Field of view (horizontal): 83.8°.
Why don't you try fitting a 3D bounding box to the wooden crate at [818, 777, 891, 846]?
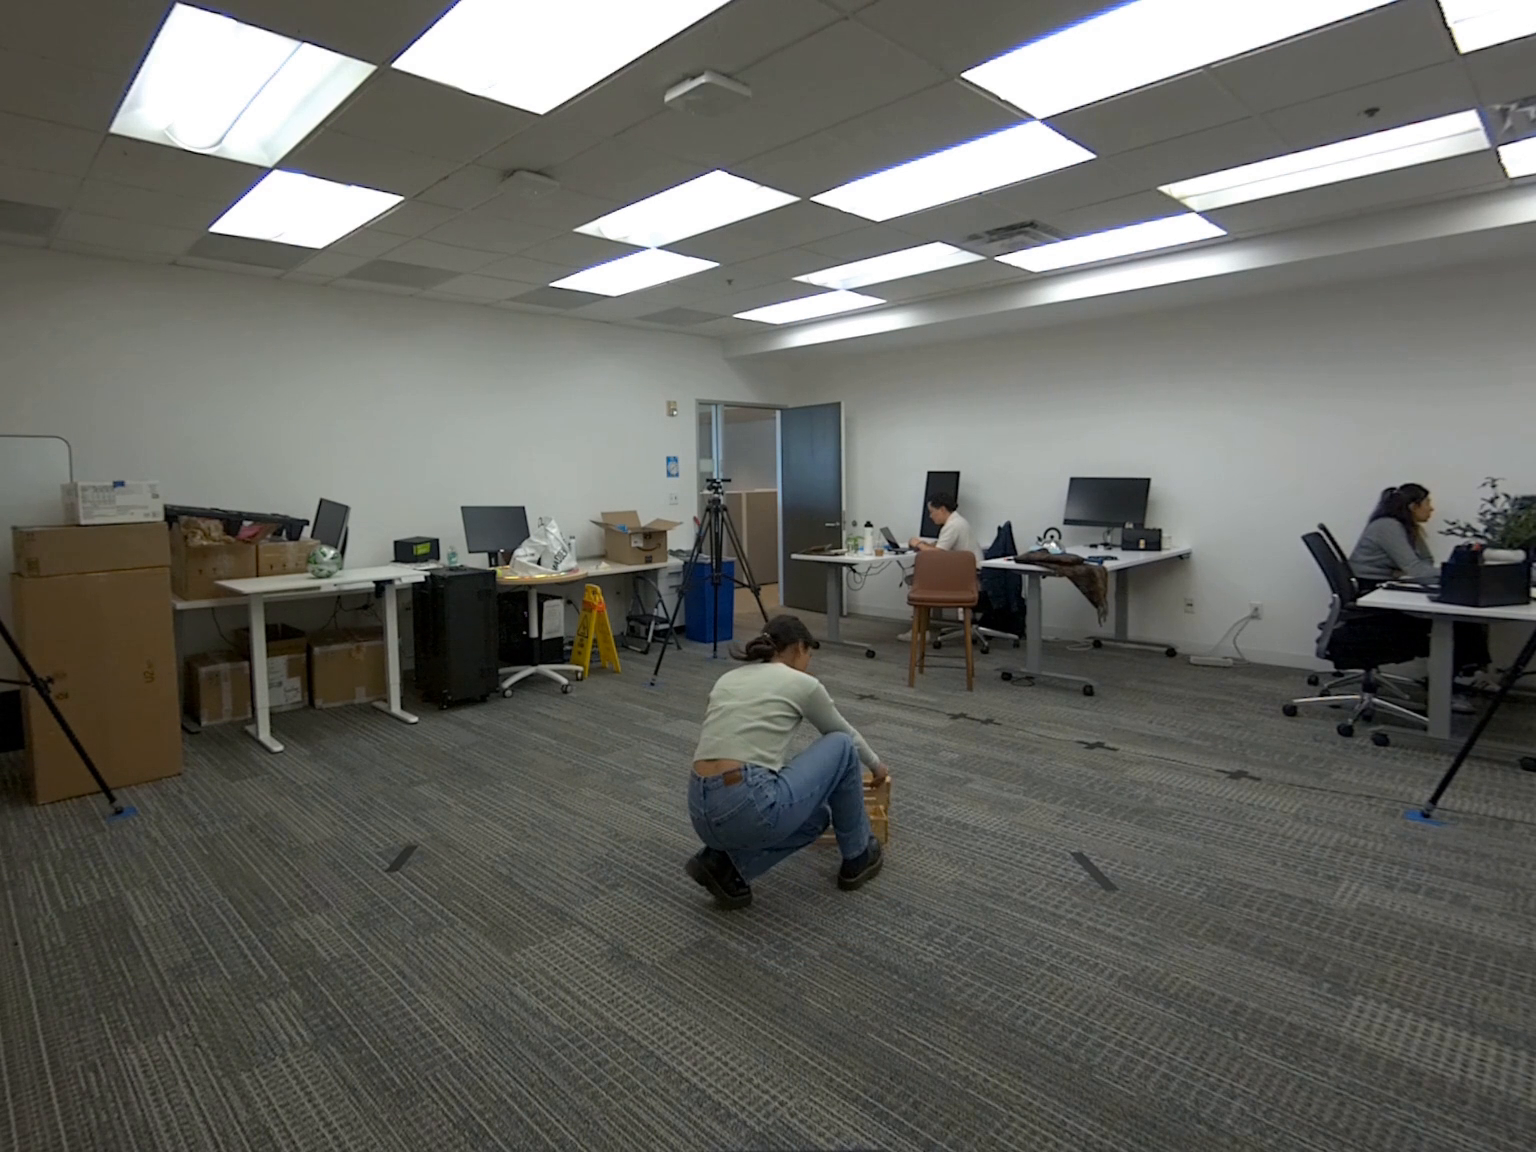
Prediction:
[{"bbox_3d":[0.311,0.880,3.351,0.325,0.272,0.303,-1,6,0],"label":"wooden crate"}]
